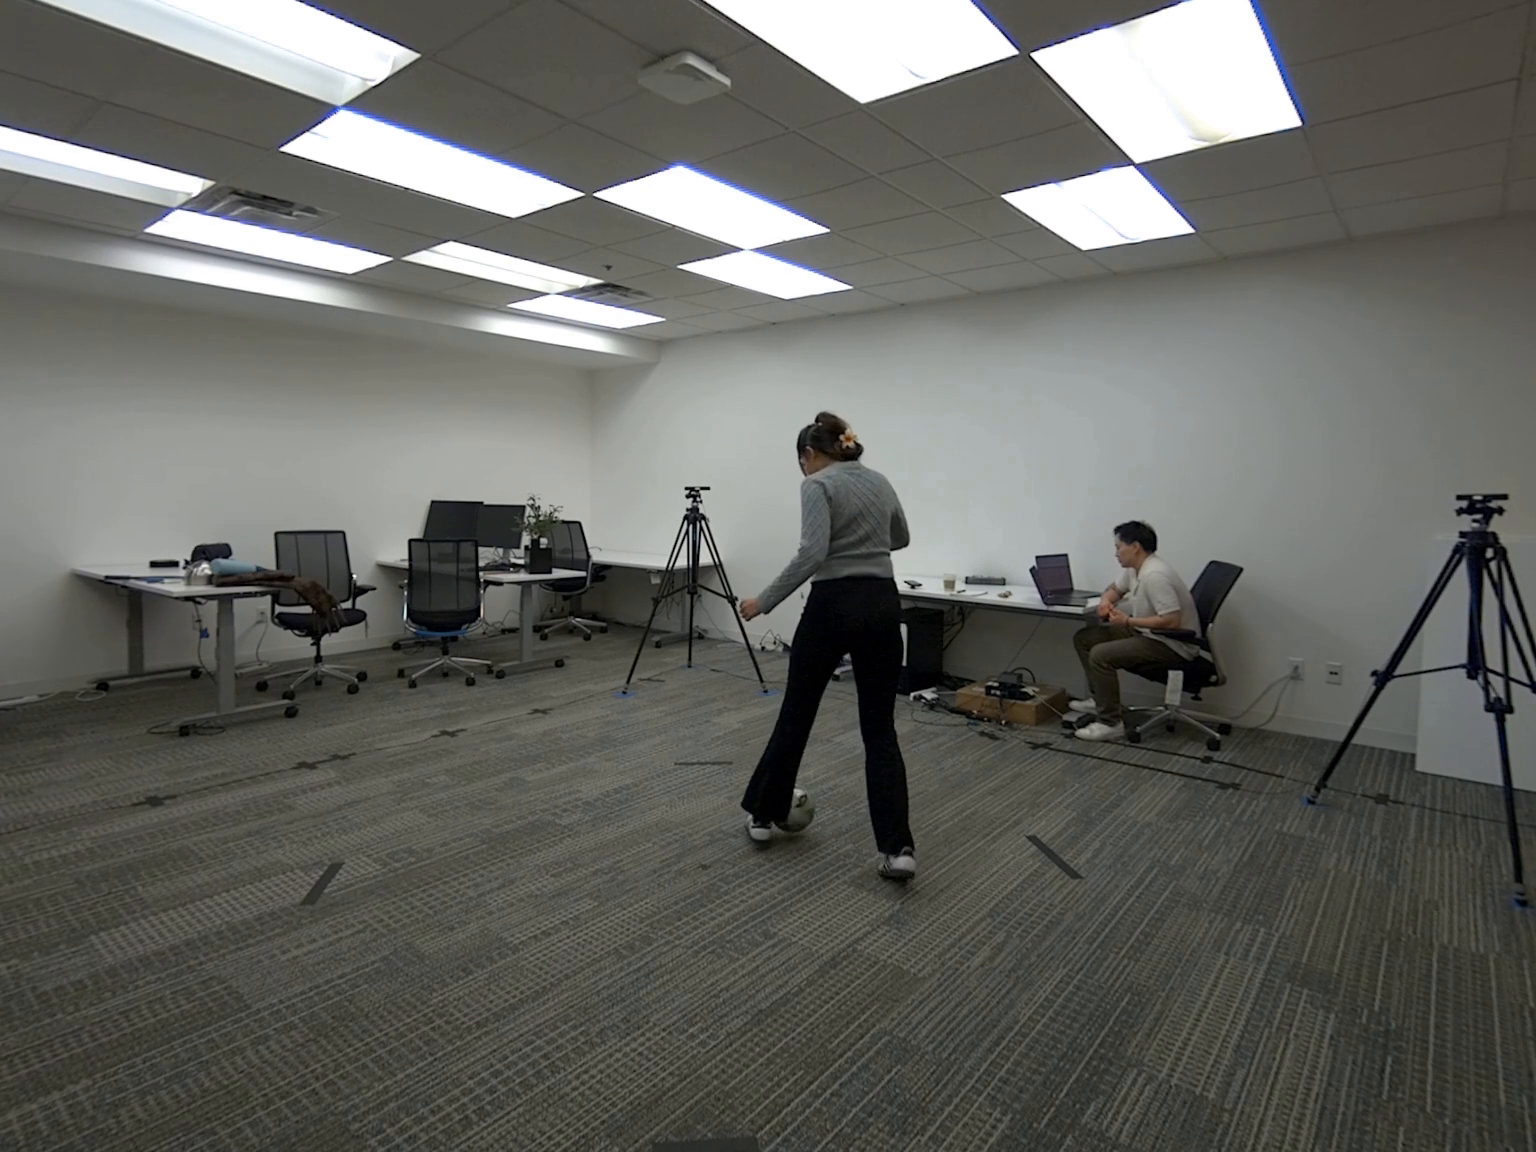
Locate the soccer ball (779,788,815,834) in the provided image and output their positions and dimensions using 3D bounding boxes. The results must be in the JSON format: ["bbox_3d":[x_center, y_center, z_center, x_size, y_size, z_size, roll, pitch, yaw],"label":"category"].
[{"bbox_3d":[0.103,0.934,3.399,0.187,0.187,0.188,1,4,-2],"label":"soccer ball"}]
